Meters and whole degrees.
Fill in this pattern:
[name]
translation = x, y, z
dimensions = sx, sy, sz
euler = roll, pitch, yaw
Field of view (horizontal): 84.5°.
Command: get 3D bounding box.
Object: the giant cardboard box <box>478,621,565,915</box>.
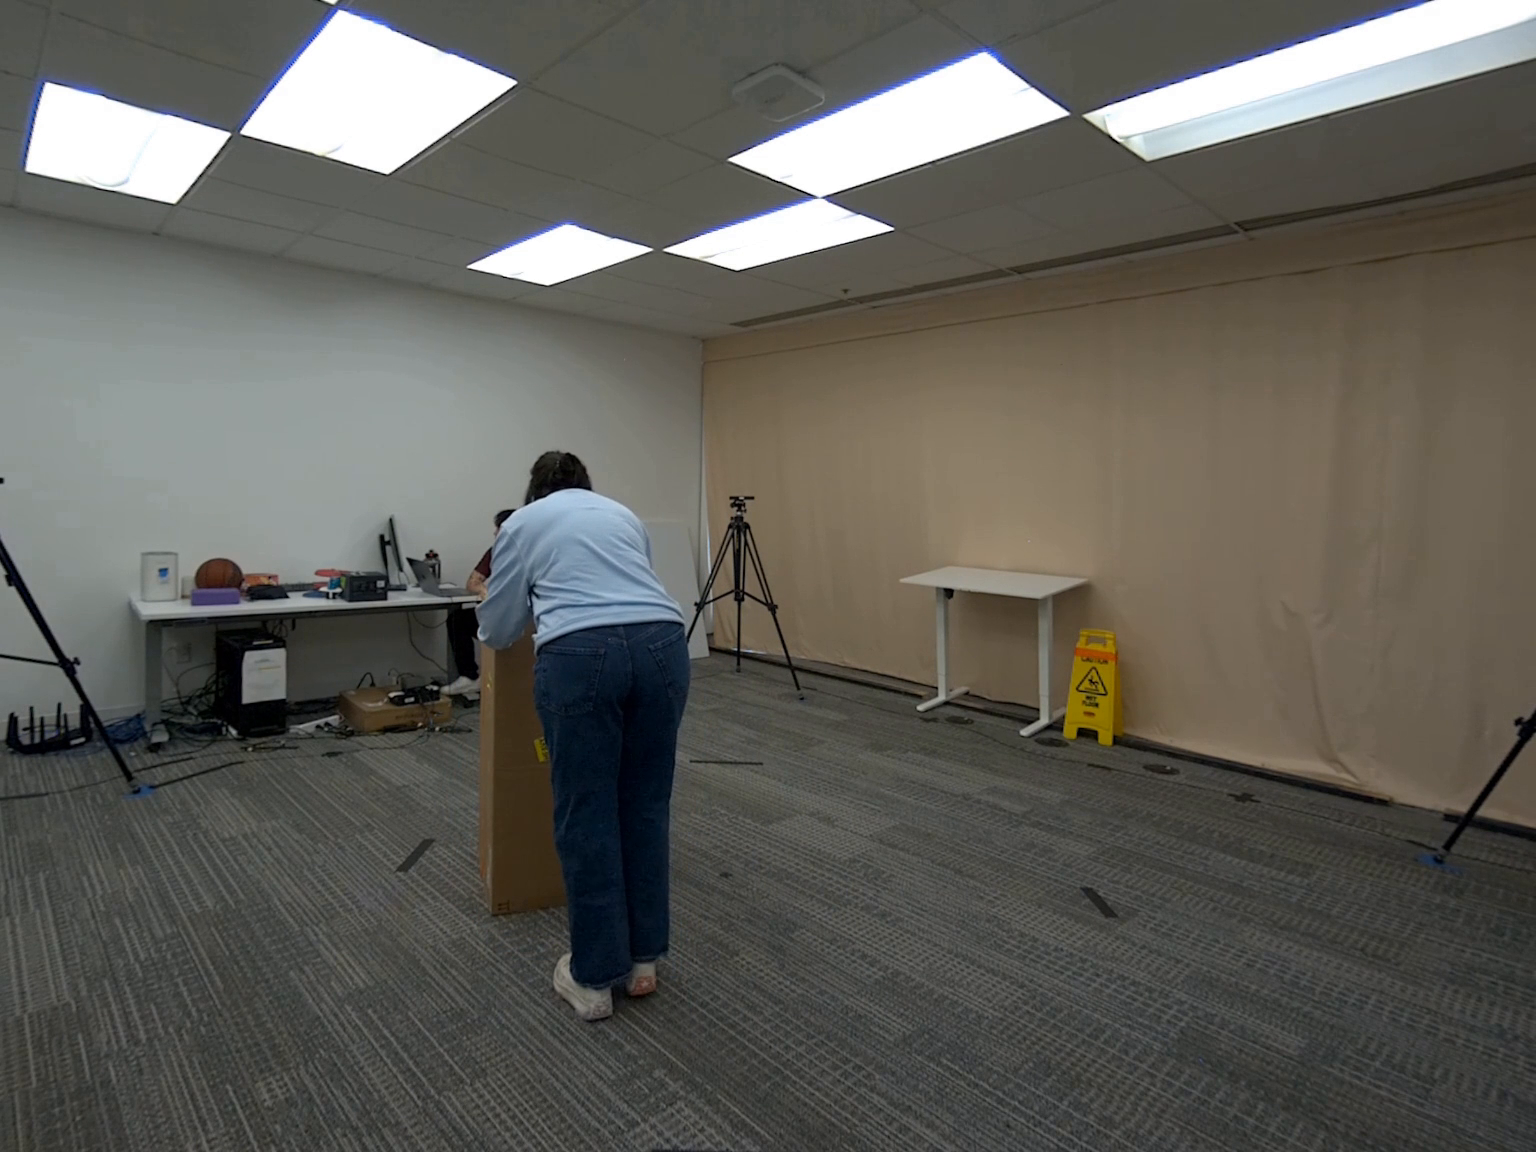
[giant cardboard box]
translation = -0.823, 0.588, 3.078
dimensions = 0.419, 1.023, 0.589
euler = 0, 4, -23
